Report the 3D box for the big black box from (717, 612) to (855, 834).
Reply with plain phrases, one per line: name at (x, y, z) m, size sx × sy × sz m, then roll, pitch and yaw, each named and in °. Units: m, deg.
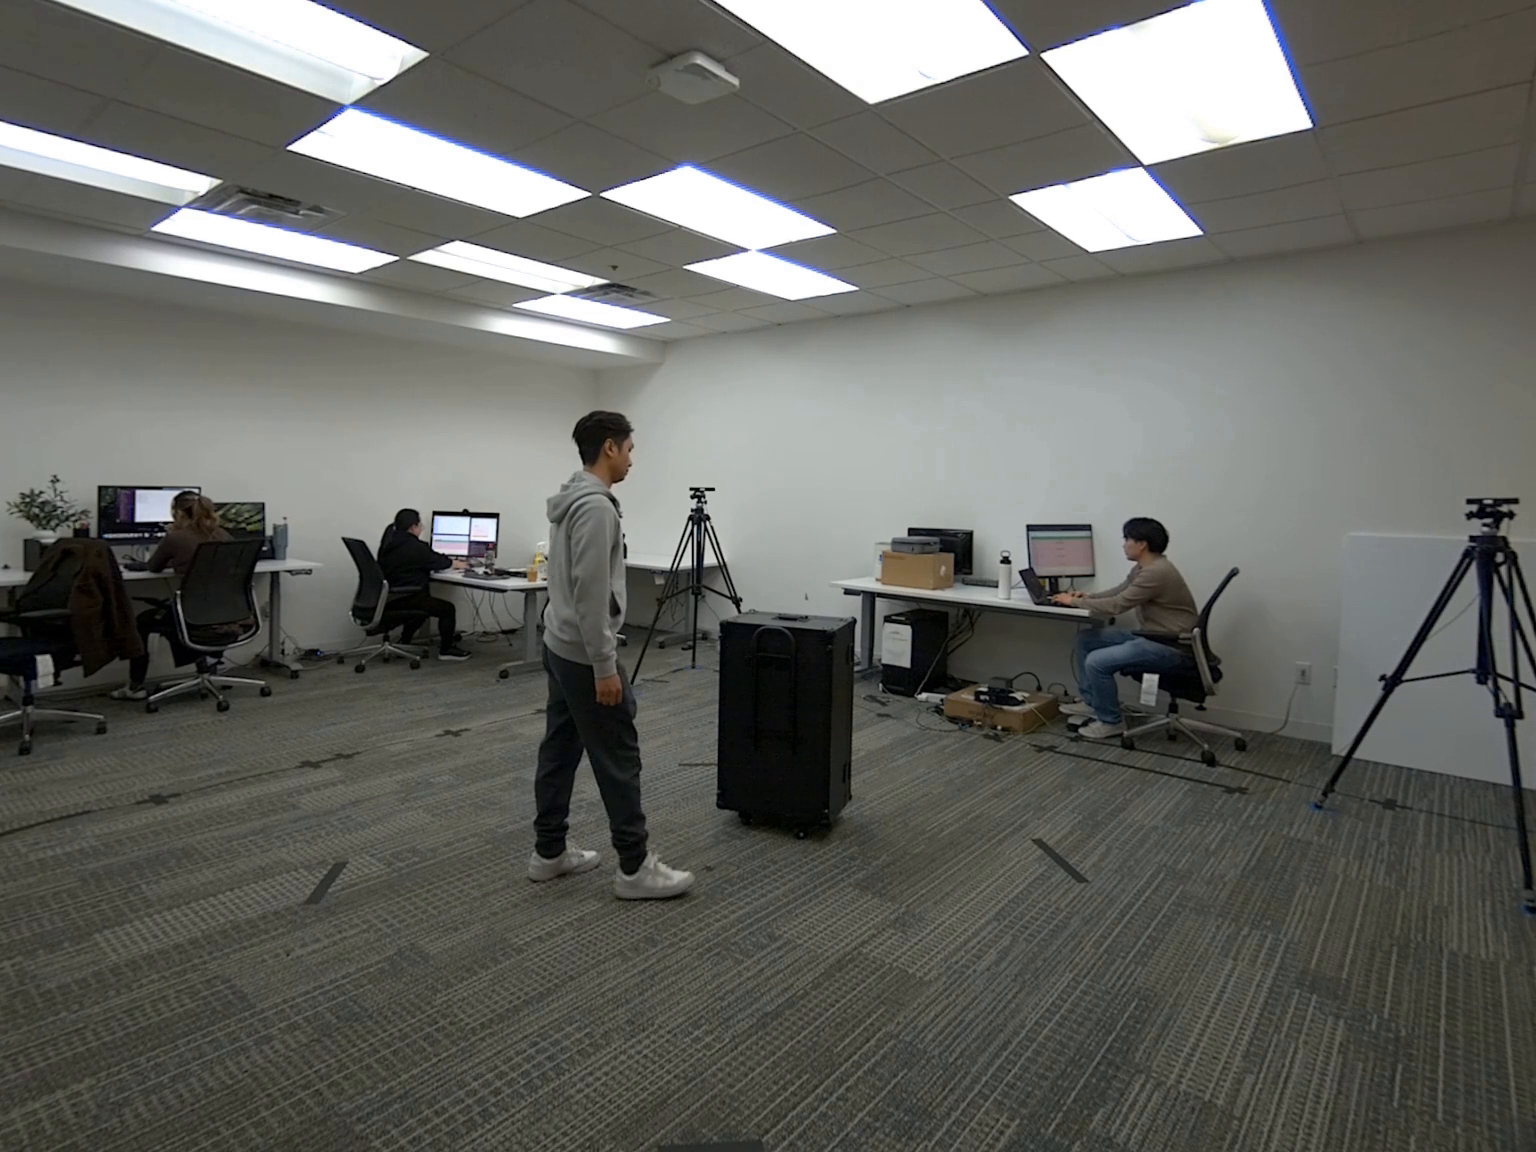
big black box at (0.072, 0.603, 3.556) m, size 0.533 × 0.858 × 0.389 m, roll 3°, pitch 5°, yaw 22°
